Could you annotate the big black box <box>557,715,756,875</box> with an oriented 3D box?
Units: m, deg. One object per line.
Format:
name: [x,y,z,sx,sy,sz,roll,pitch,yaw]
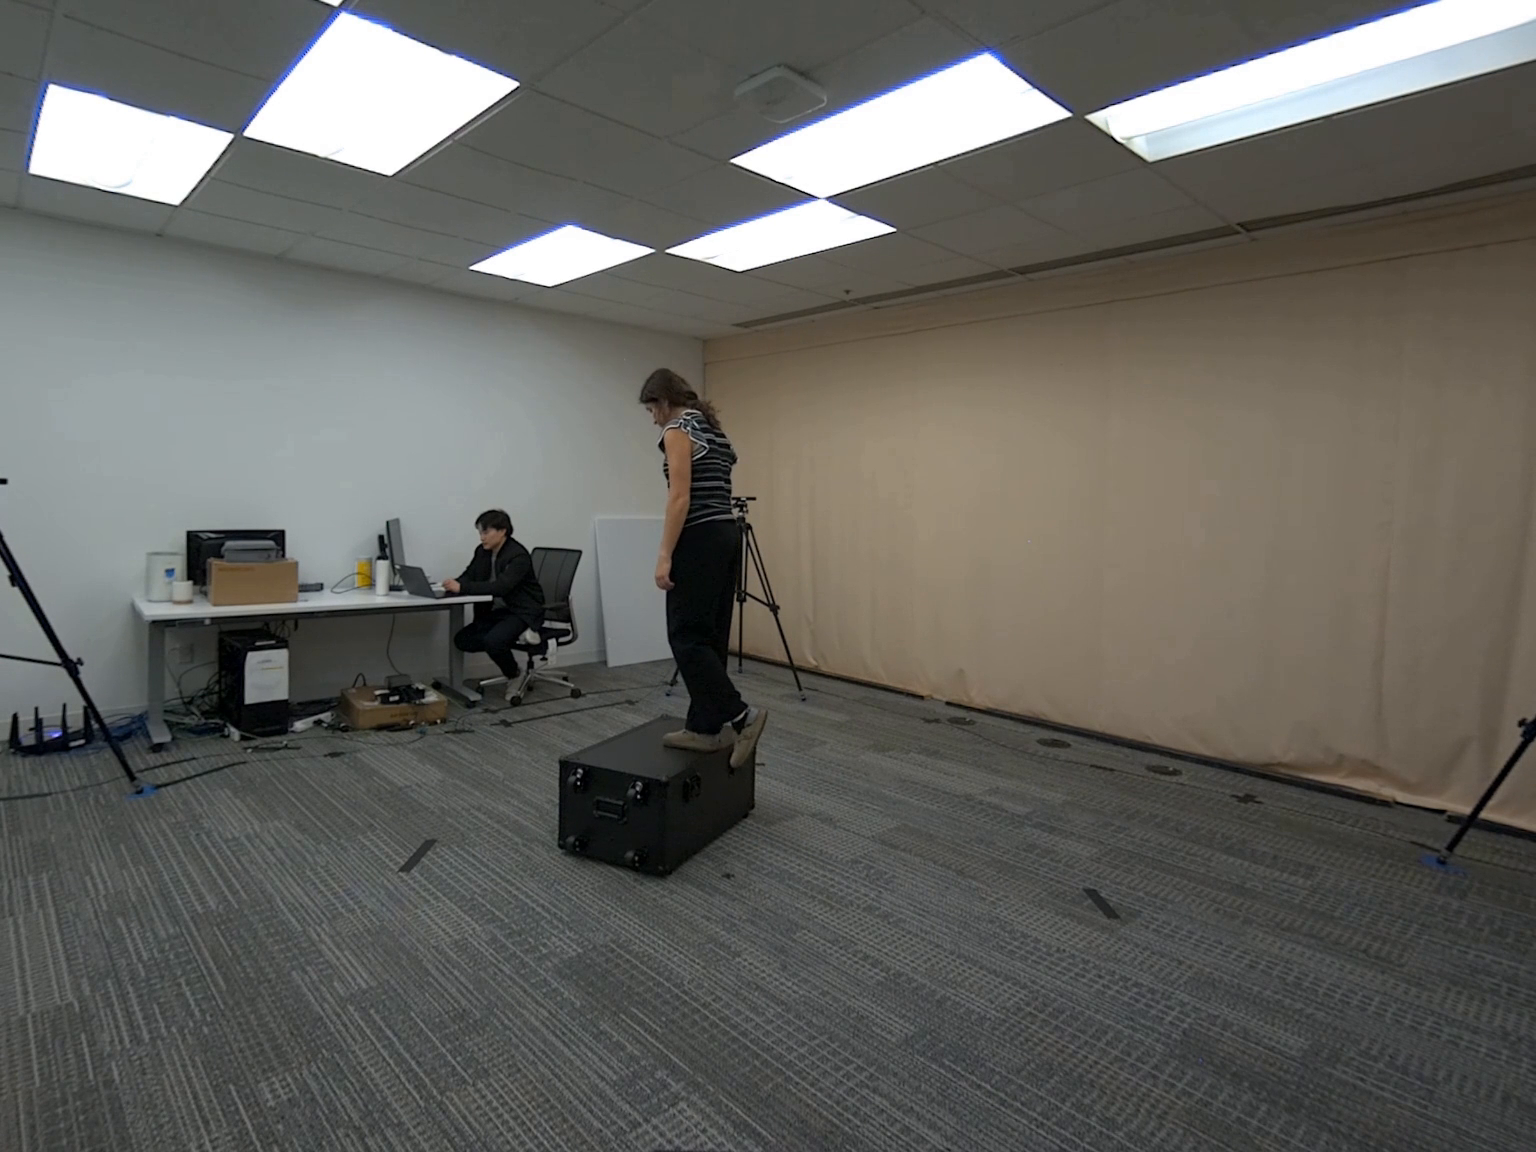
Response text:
big black box: [-0.455,0.878,3.457,0.531,0.395,0.847,4,5,24]
